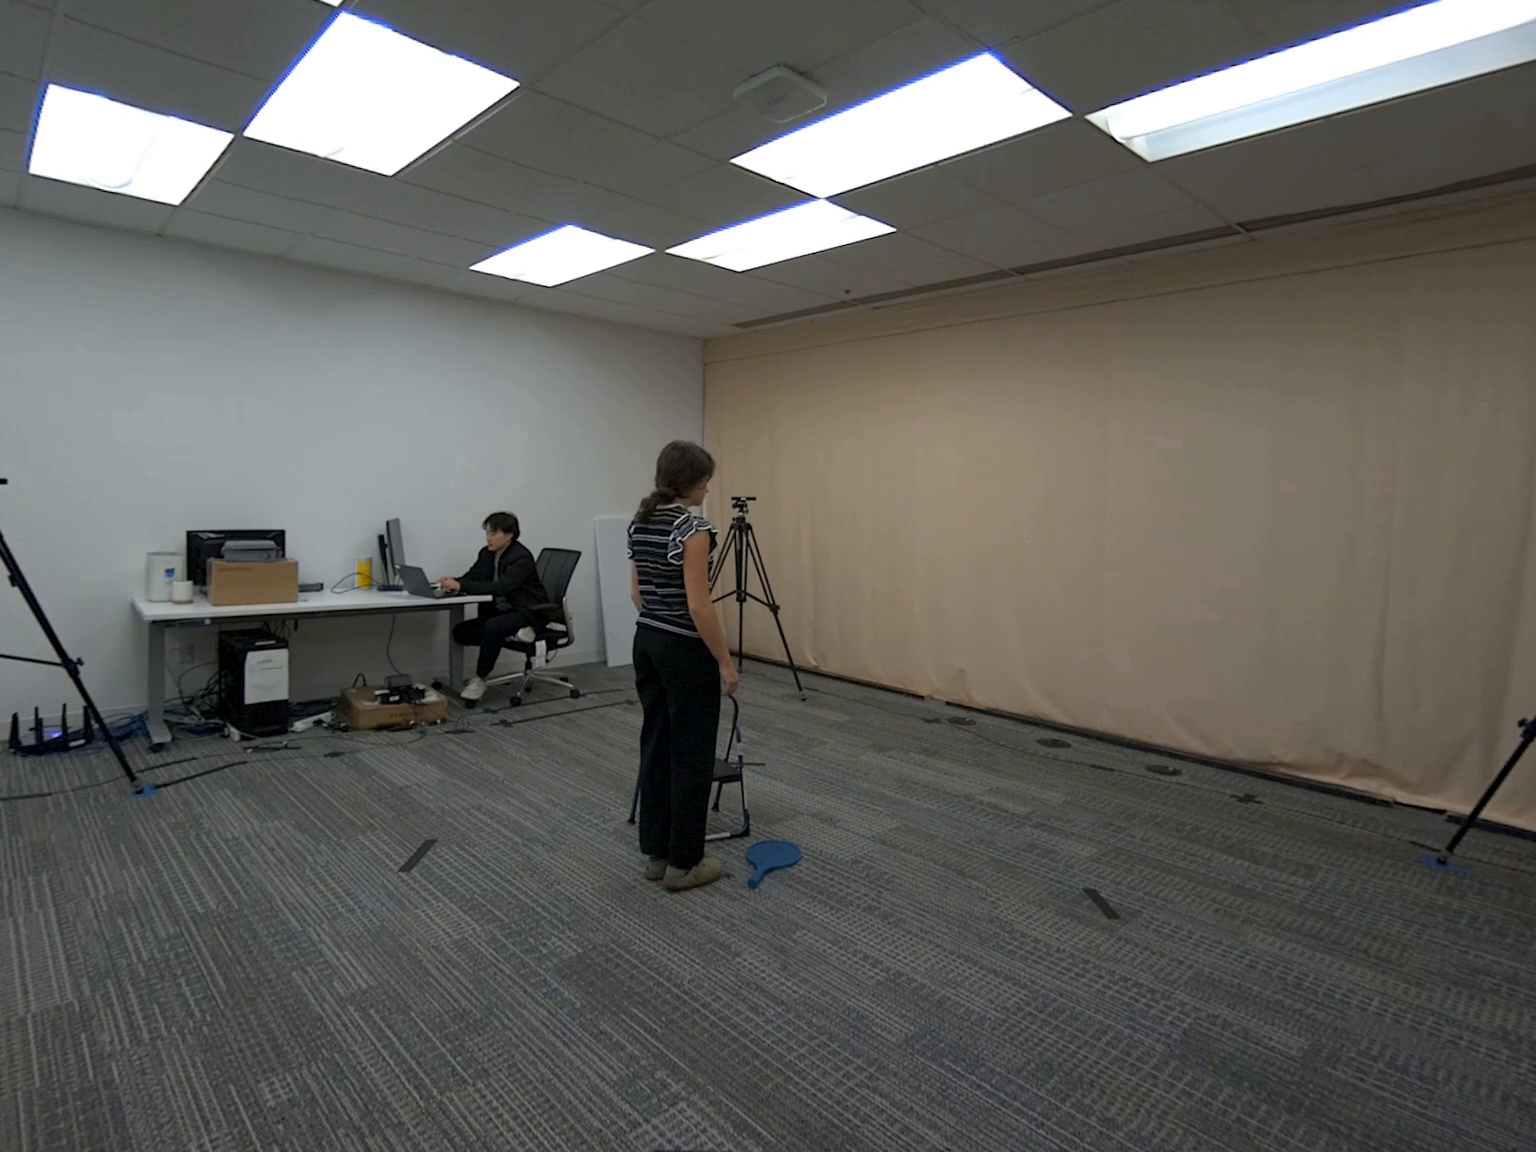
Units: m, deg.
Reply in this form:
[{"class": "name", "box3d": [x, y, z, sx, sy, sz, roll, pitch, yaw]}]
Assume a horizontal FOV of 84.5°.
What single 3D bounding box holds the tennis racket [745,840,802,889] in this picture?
[{"class": "tennis racket", "box3d": [-0.013, 1.085, 3.210, 0.217, 0.032, 0.427, 2, 3, 16]}]
